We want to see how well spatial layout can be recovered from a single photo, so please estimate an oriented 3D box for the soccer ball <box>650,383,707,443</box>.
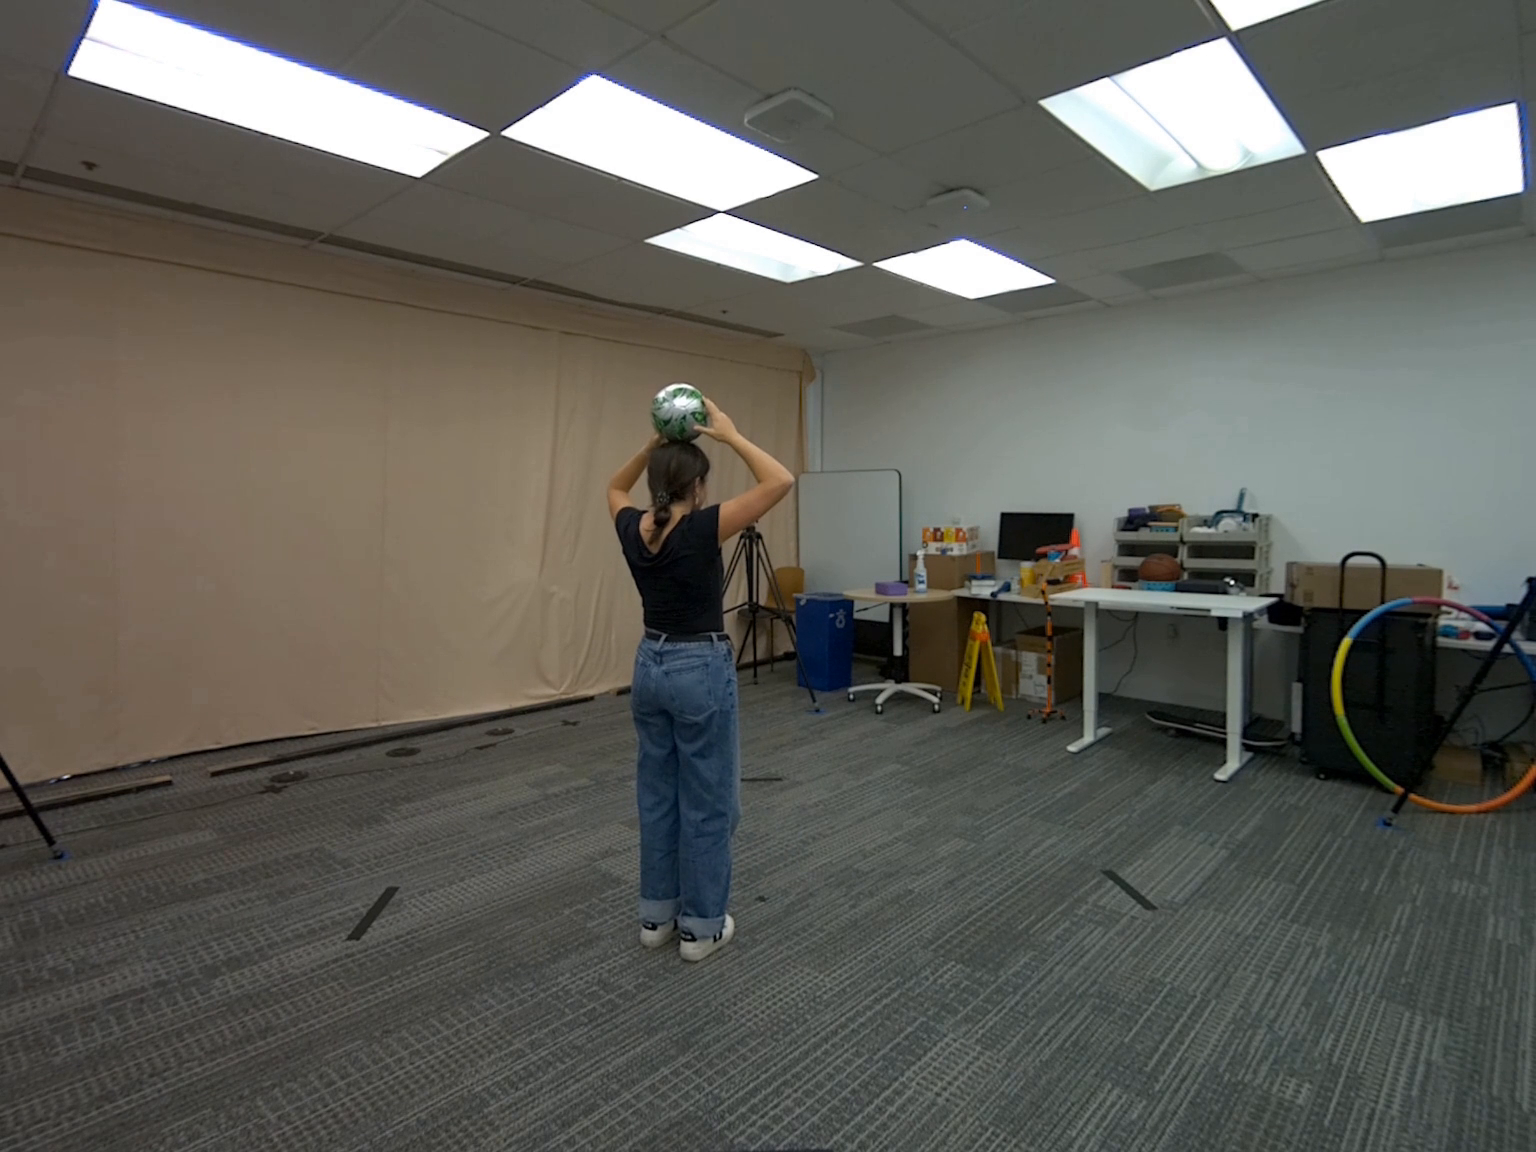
[{"bbox_3d":[-0.266,-0.506,2.643,0.187,0.187,0.188,0,4,-2],"label":"soccer ball"}]
